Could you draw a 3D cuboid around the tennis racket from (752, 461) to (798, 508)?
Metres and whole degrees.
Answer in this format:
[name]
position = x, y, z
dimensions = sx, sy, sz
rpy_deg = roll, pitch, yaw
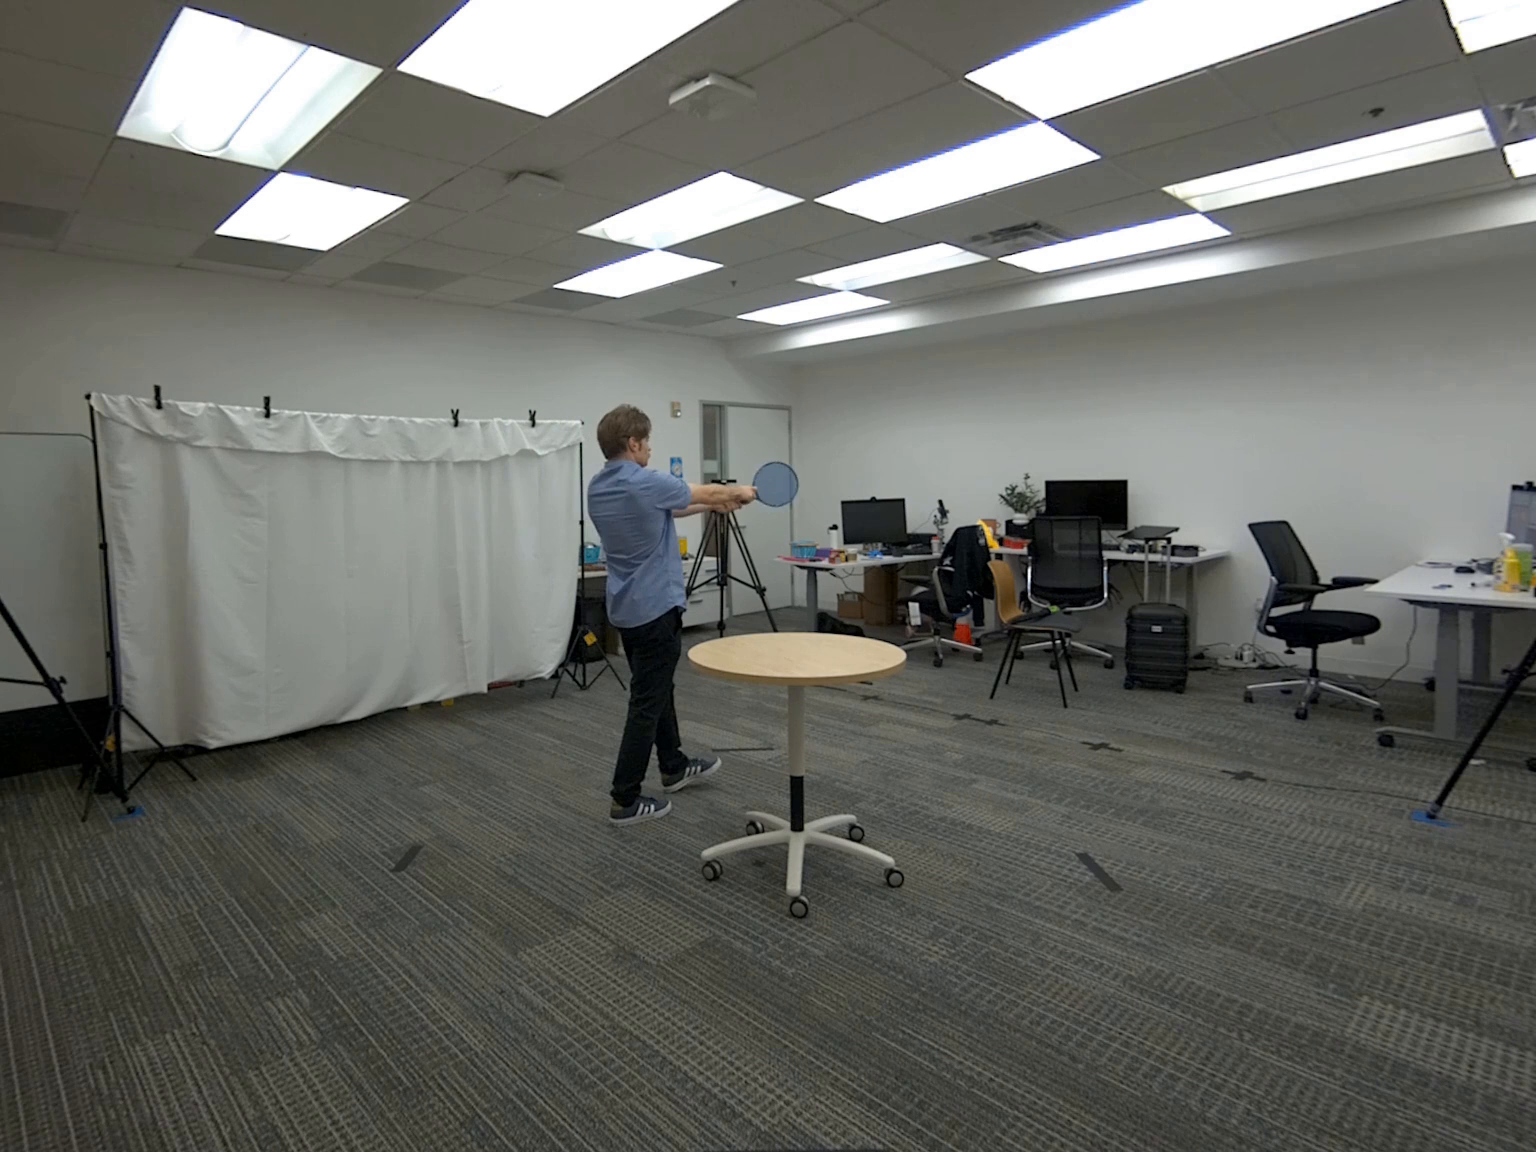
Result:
[tennis racket]
position = -0.019, -0.408, 3.998
dimensions = 0.427, 0.213, 0.032
rpy_deg = -26, 5, -33
